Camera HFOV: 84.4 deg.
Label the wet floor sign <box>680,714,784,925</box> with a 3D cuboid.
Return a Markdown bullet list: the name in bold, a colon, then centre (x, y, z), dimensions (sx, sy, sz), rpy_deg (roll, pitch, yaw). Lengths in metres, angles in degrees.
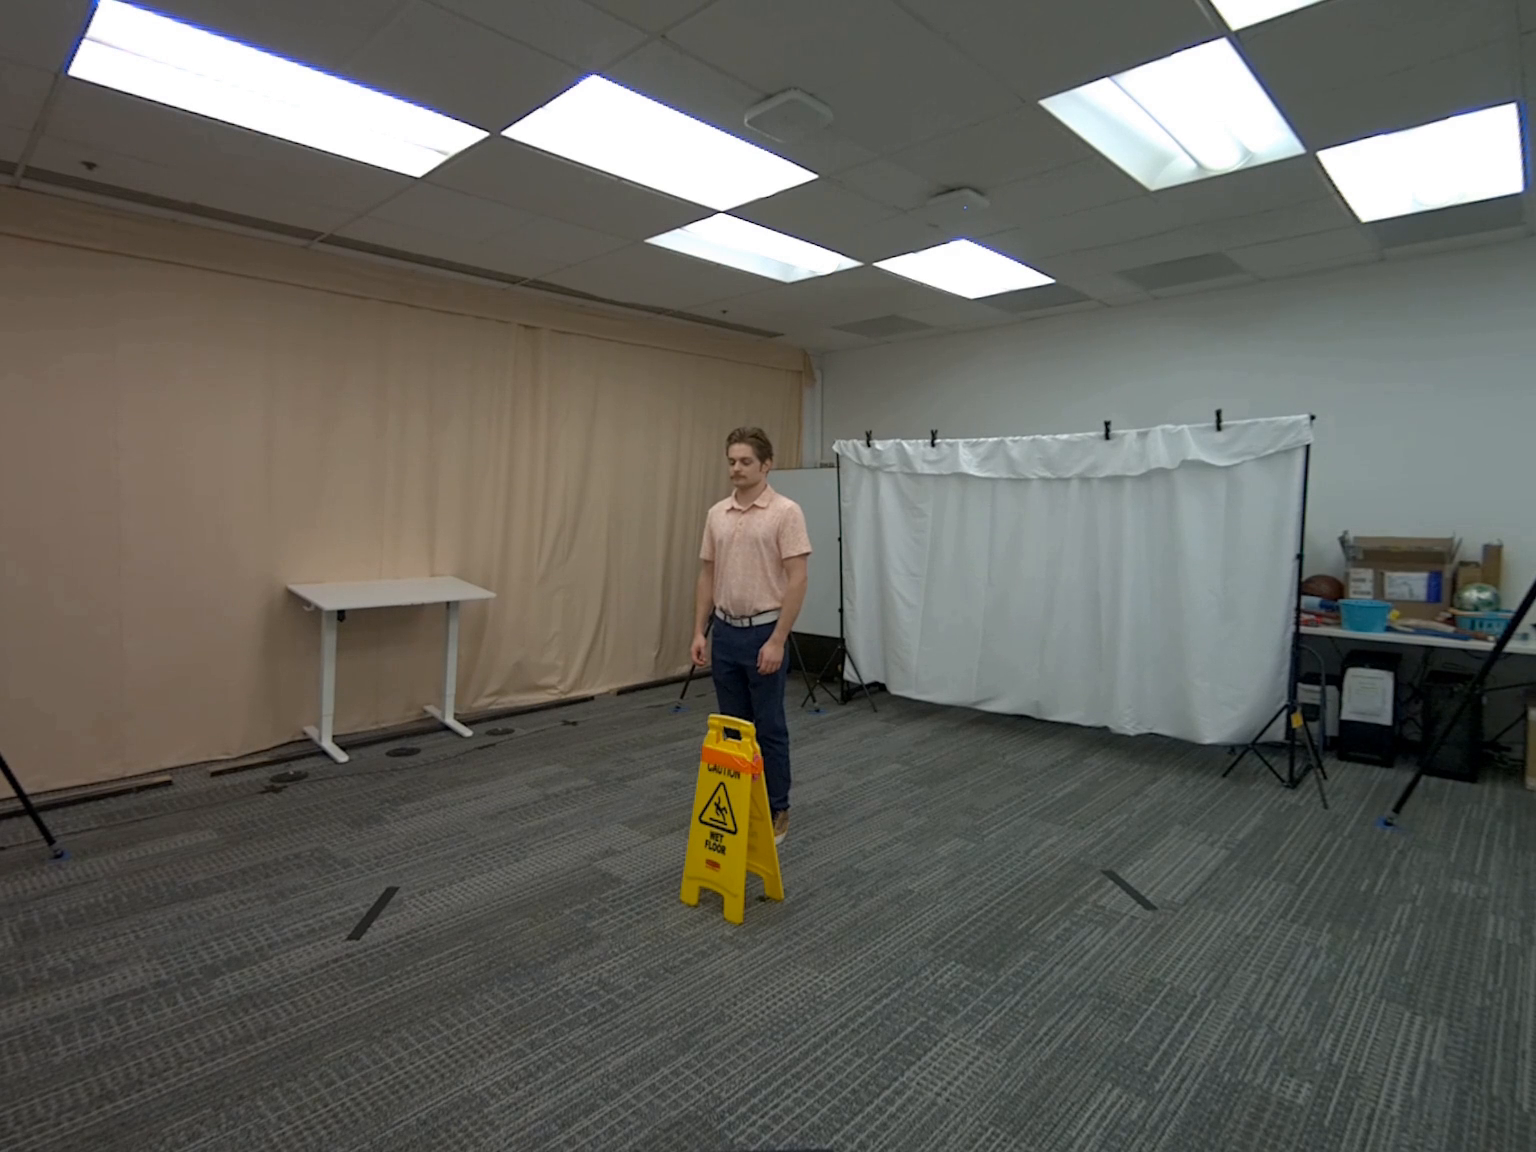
- **wet floor sign**: centre (-0.128, 0.815, 2.955), dimensions (0.291, 0.645, 0.281), rpy_deg (2, 4, 40)
